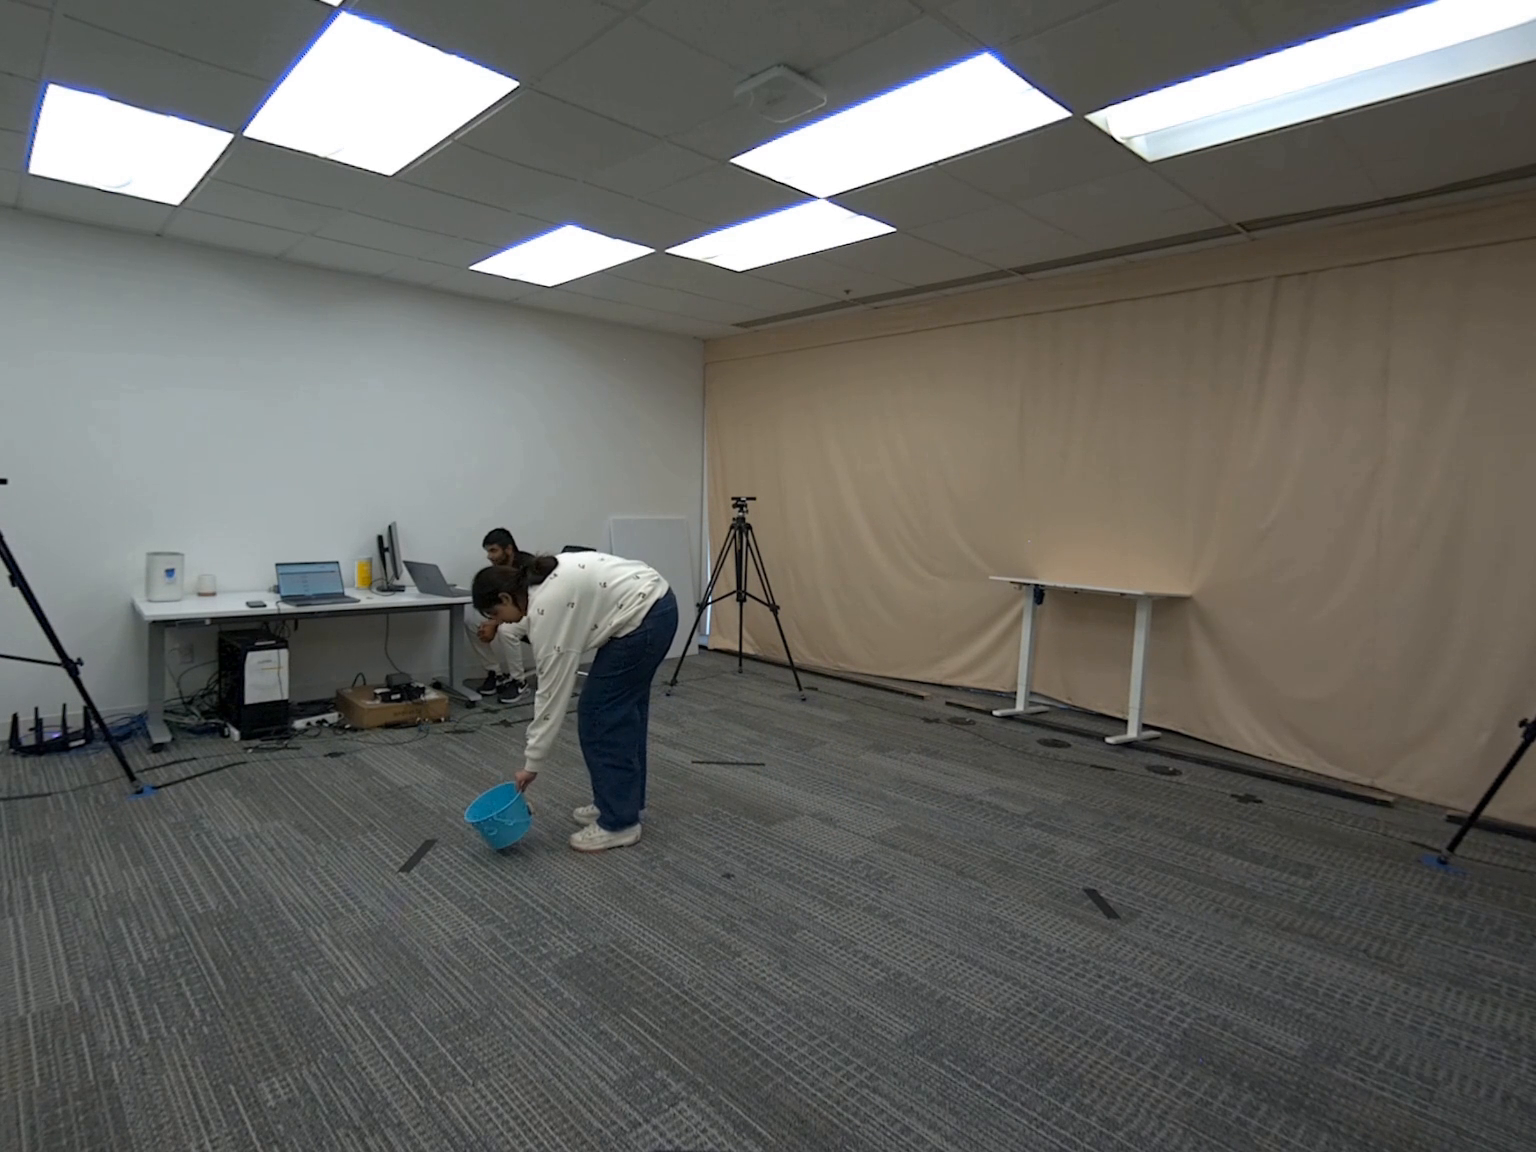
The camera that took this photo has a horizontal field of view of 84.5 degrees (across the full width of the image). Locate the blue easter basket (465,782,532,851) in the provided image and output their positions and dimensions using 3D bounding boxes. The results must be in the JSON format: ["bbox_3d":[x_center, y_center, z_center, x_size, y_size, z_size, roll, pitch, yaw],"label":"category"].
[{"bbox_3d":[-1.035,0.932,3.252,0.244,0.153,0.246,-22,16,5],"label":"blue easter basket"}]
